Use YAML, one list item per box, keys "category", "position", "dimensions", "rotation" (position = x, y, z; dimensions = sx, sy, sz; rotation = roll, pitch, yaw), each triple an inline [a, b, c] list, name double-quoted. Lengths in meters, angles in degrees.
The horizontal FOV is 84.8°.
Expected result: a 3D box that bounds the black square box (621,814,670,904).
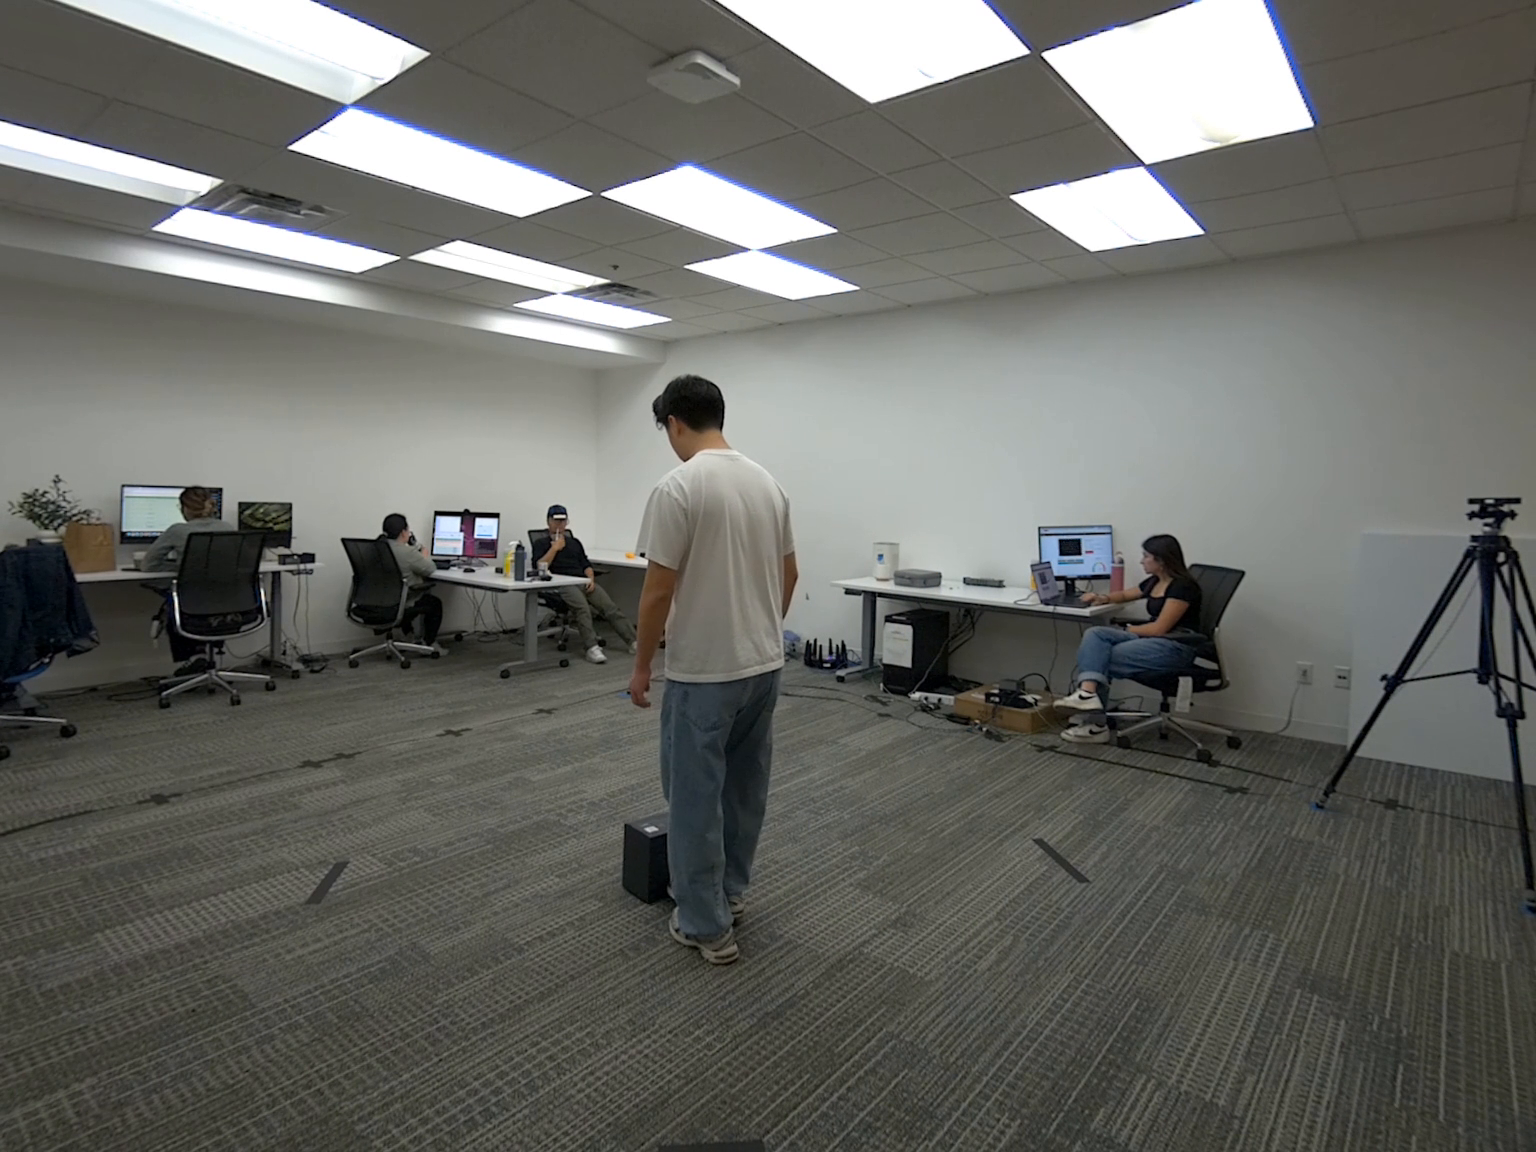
- category: "black square box"
  position: [-0.383, 0.958, 2.946]
  dimensions: [0.210, 0.227, 0.161]
  rotation: [-2, 5, -41]
